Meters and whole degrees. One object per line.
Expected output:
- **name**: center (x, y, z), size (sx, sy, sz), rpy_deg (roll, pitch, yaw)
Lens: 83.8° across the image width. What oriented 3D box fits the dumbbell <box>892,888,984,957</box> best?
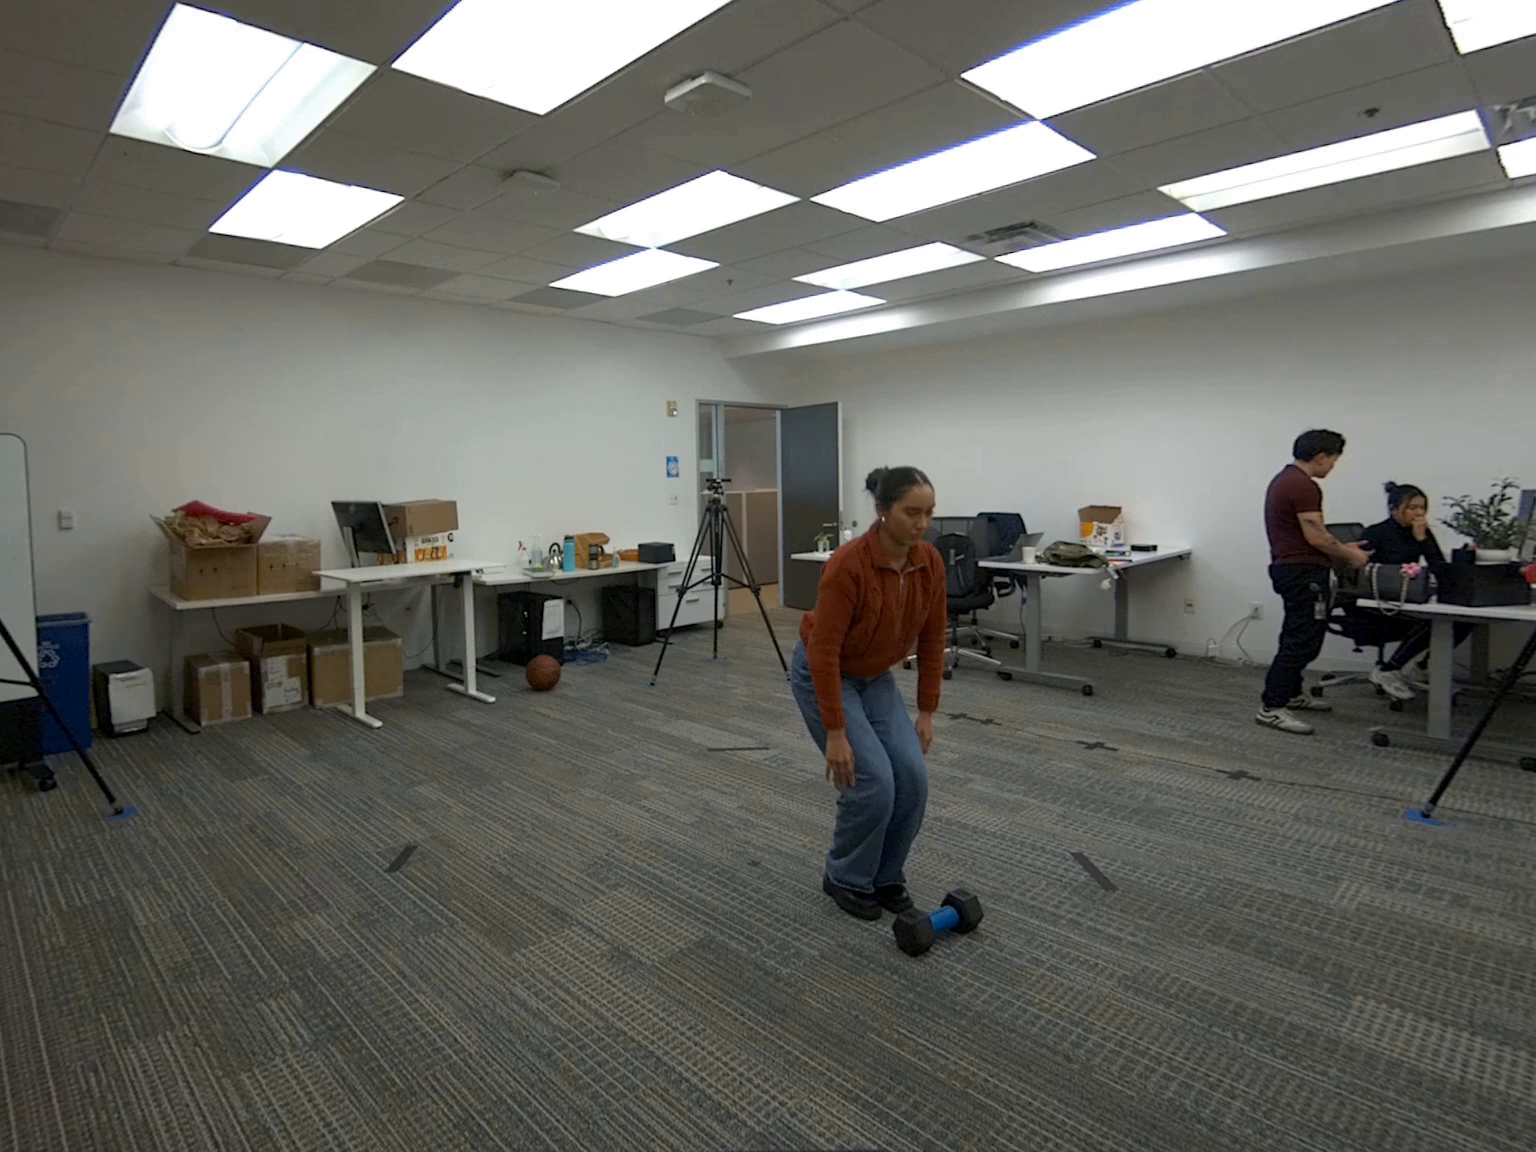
- **dumbbell**: center (0.523, 1.043, 2.571), size (0.286, 0.126, 0.109), rpy_deg (-4, -24, -35)
